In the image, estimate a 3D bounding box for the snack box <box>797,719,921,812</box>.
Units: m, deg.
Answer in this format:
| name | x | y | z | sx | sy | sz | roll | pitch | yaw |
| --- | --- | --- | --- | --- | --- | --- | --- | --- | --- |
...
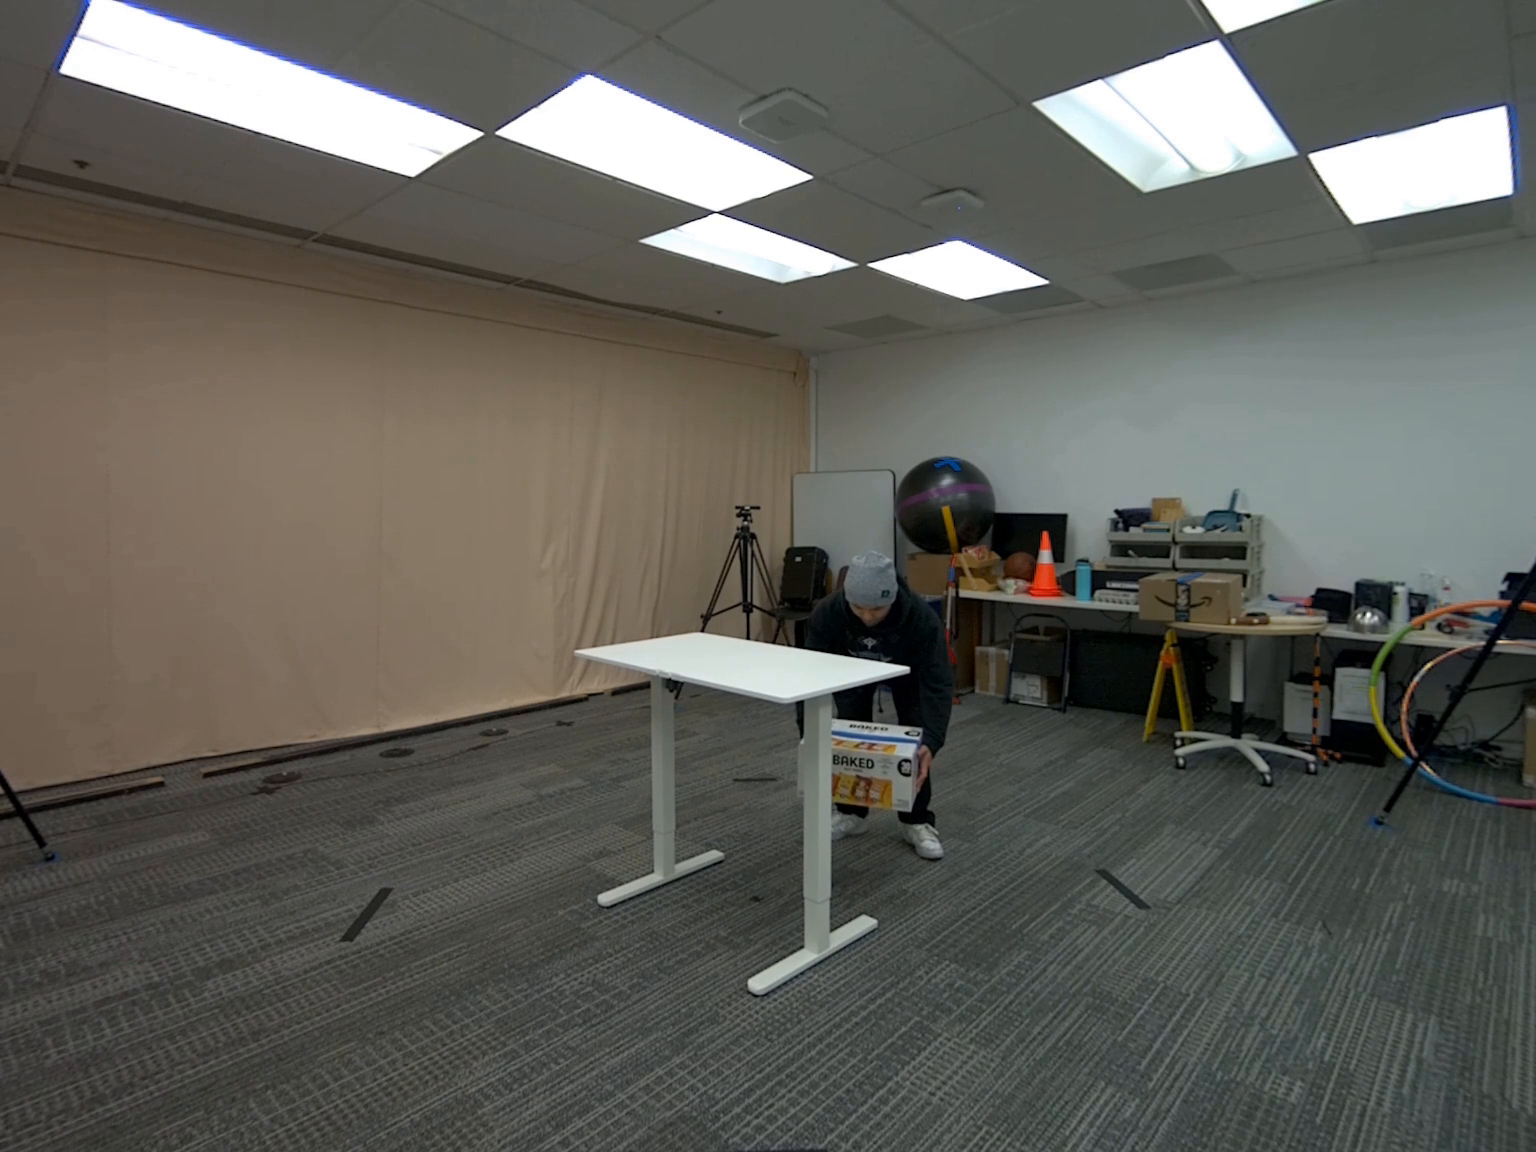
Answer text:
| name | x | y | z | sx | sy | sz | roll | pitch | yaw |
| --- | --- | --- | --- | --- | --- | --- | --- | --- | --- |
| snack box | 0.356 | 0.689 | 3.123 | 0.413 | 0.205 | 0.335 | 2 | 8 | 18 |
